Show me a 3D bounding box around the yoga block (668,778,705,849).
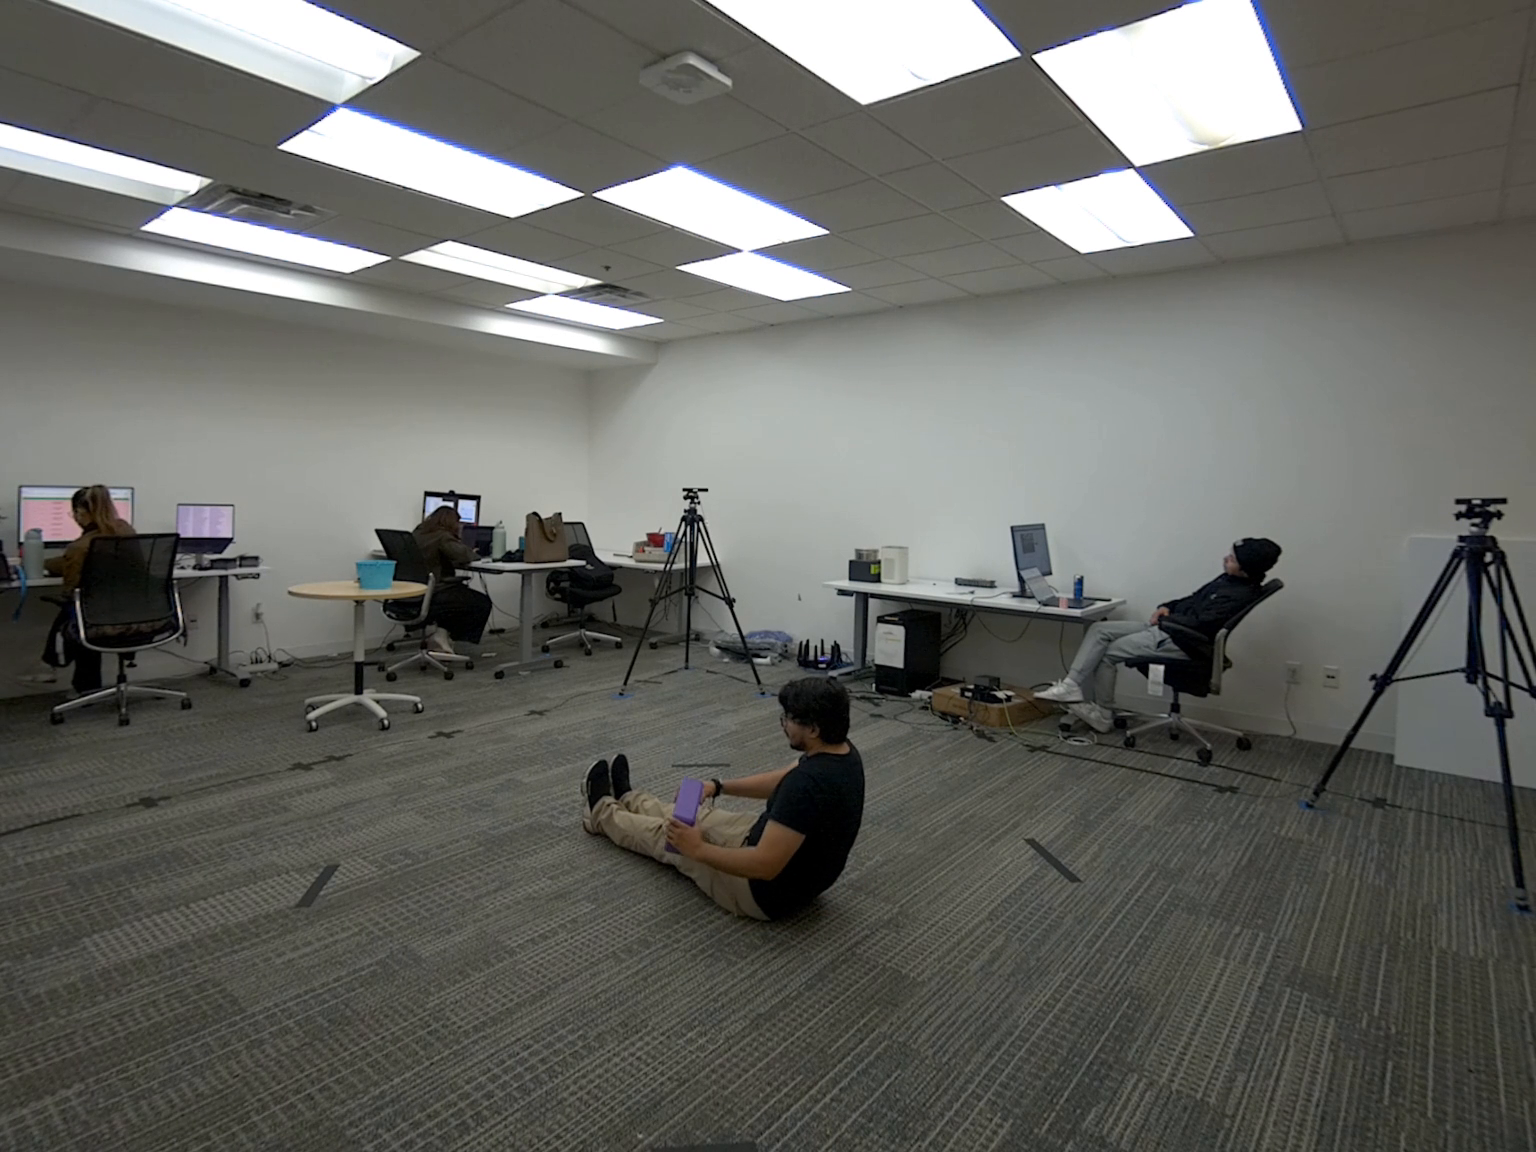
[{"bbox_3d":[-0.283,0.812,2.857,0.077,0.147,0.231,8,19,4],"label":"yoga block"}]
